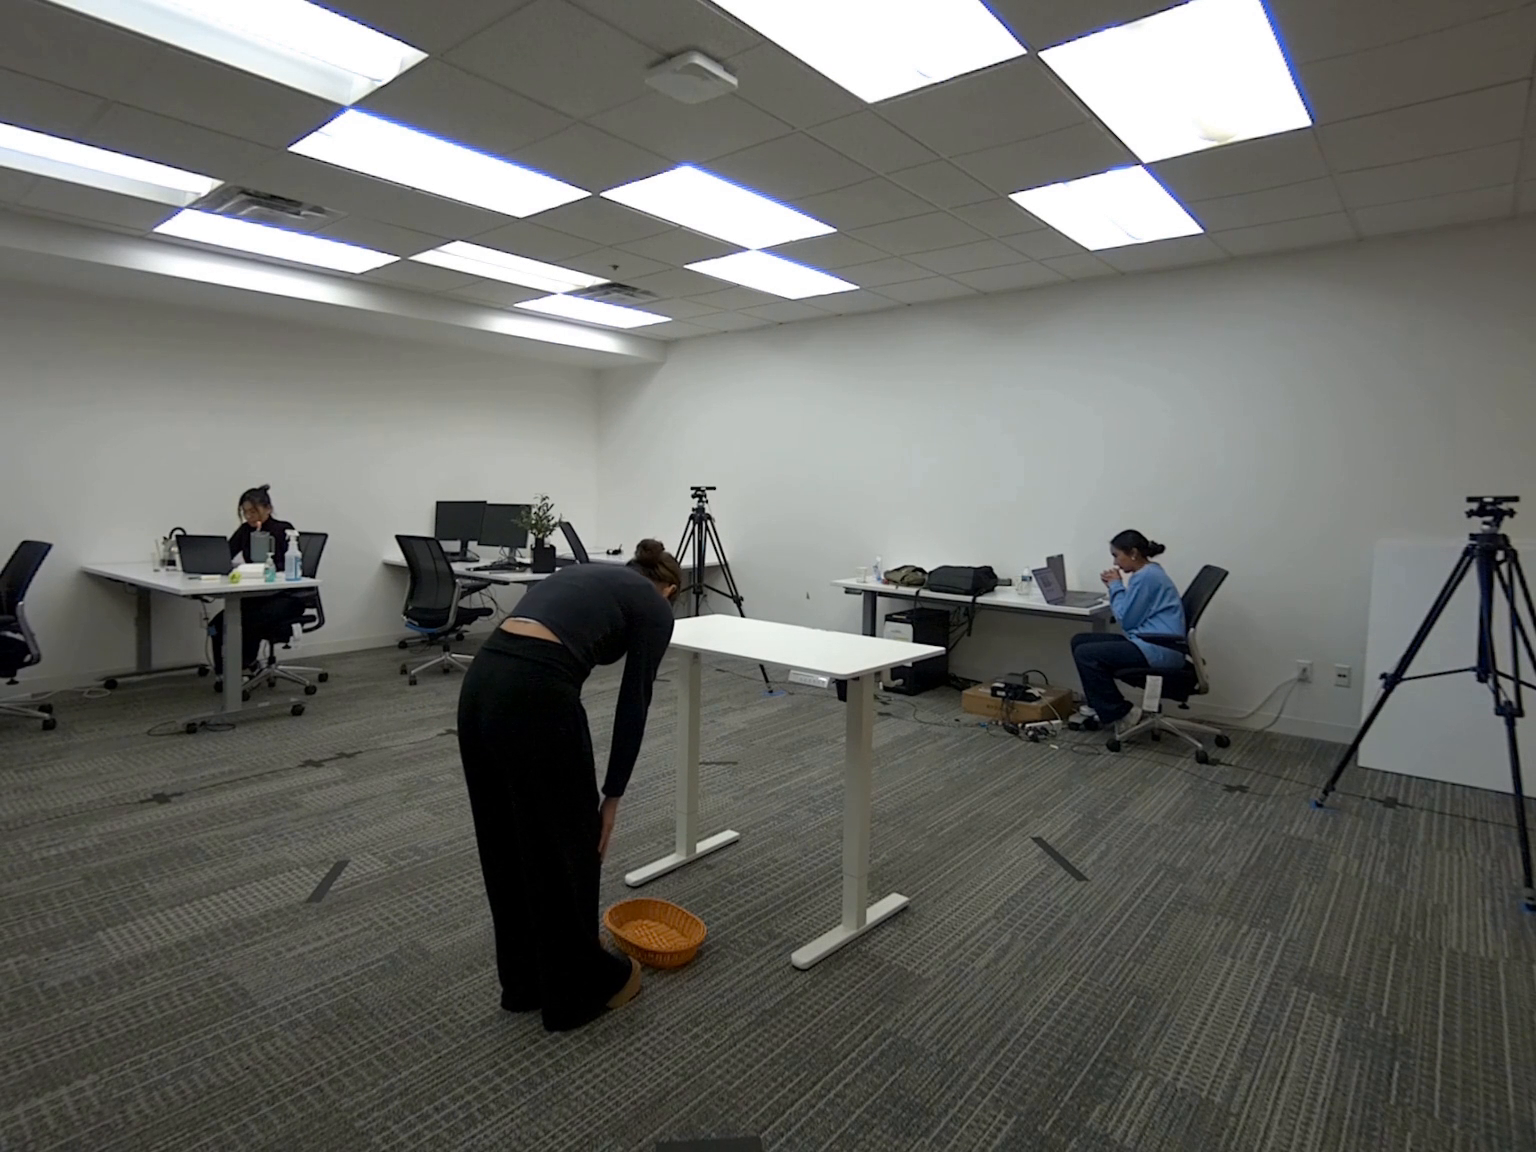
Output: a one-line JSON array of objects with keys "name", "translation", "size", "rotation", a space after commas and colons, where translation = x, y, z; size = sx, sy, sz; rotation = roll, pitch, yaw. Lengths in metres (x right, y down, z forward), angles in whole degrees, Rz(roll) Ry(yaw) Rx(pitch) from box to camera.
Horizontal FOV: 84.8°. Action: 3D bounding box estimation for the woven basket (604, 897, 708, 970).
[{"name": "woven basket", "translation": [-0.349, 1.071, 2.572], "size": [0.362, 0.073, 0.245], "rotation": [7, 7, 44]}]
